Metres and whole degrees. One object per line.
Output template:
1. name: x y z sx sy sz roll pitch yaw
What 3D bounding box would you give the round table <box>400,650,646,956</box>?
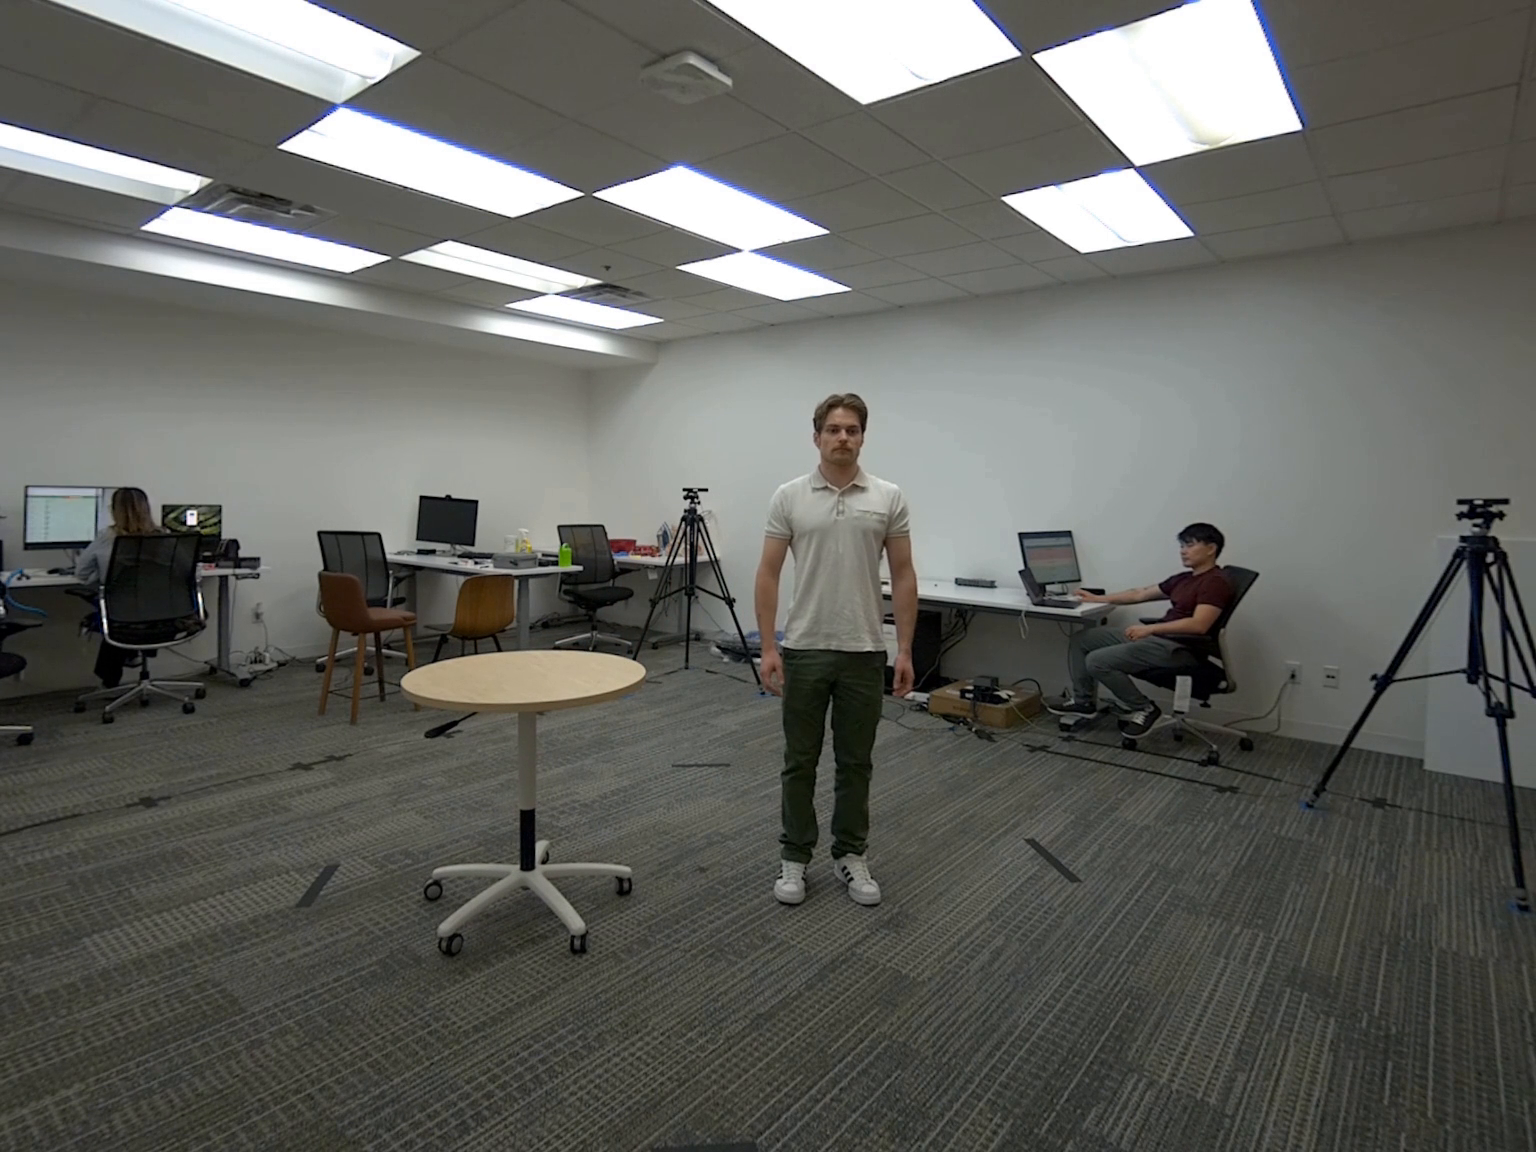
1. round table: -0.794 0.707 2.761 0.763 0.791 0.768 0 5 -2
